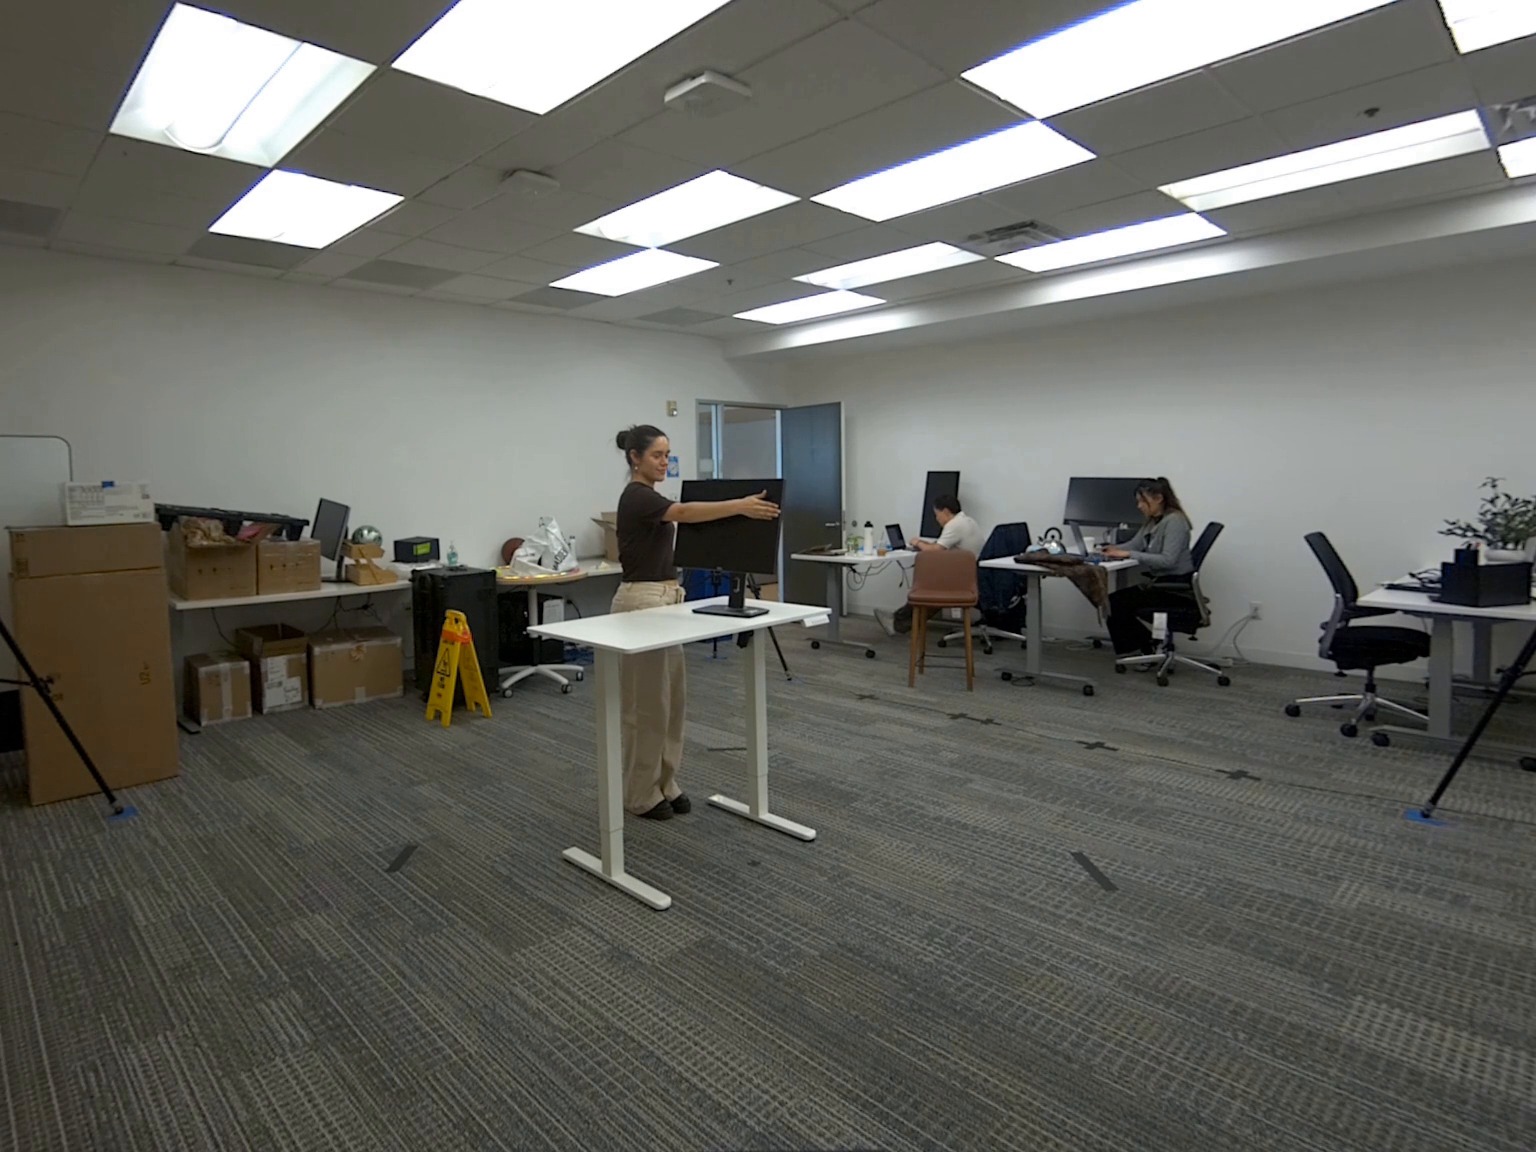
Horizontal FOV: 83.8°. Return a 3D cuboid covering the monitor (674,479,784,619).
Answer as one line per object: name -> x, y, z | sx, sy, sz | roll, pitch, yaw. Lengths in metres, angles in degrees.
monitor -> -0.141, -0.108, 3.280 | 0.555, 0.520, 0.182 | 3, 7, 43
